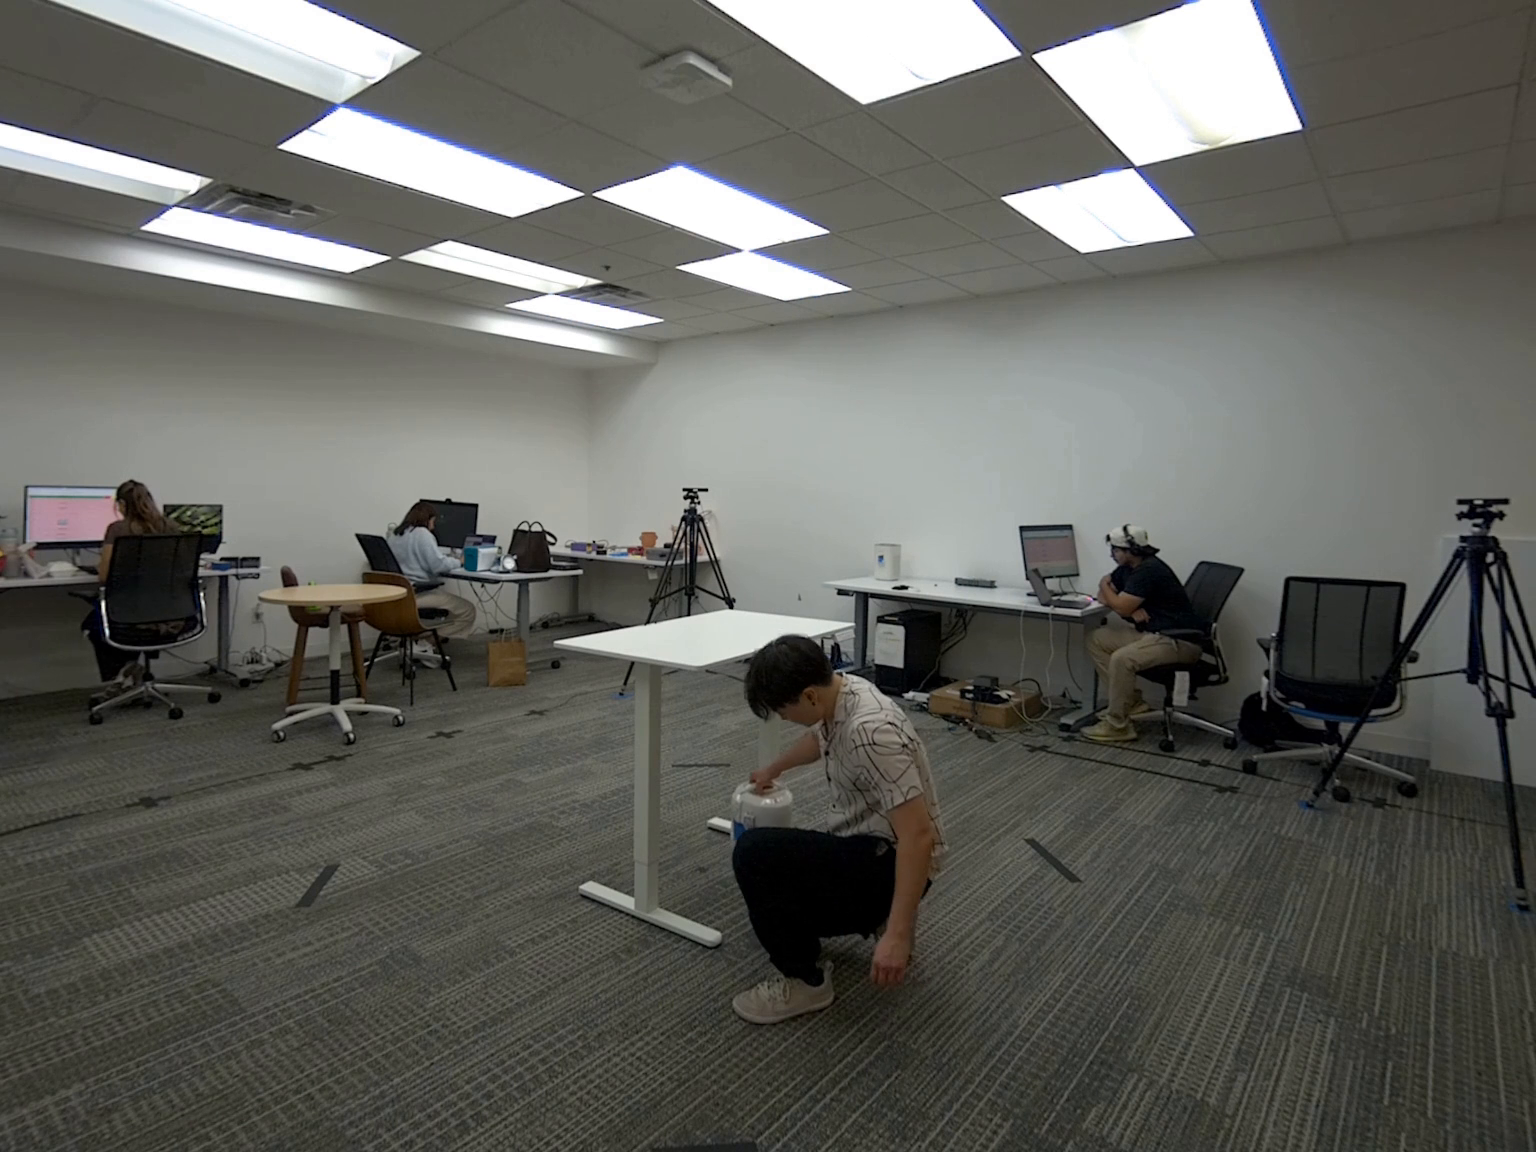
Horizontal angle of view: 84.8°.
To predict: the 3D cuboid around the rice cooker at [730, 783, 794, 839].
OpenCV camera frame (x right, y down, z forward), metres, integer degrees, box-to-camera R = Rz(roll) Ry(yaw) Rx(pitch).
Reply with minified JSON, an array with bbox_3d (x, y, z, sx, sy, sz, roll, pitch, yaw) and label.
[{"bbox_3d":[-0.032,0.816,2.926,0.215,0.231,0.224,2,8,-24],"label":"rice cooker"}]
